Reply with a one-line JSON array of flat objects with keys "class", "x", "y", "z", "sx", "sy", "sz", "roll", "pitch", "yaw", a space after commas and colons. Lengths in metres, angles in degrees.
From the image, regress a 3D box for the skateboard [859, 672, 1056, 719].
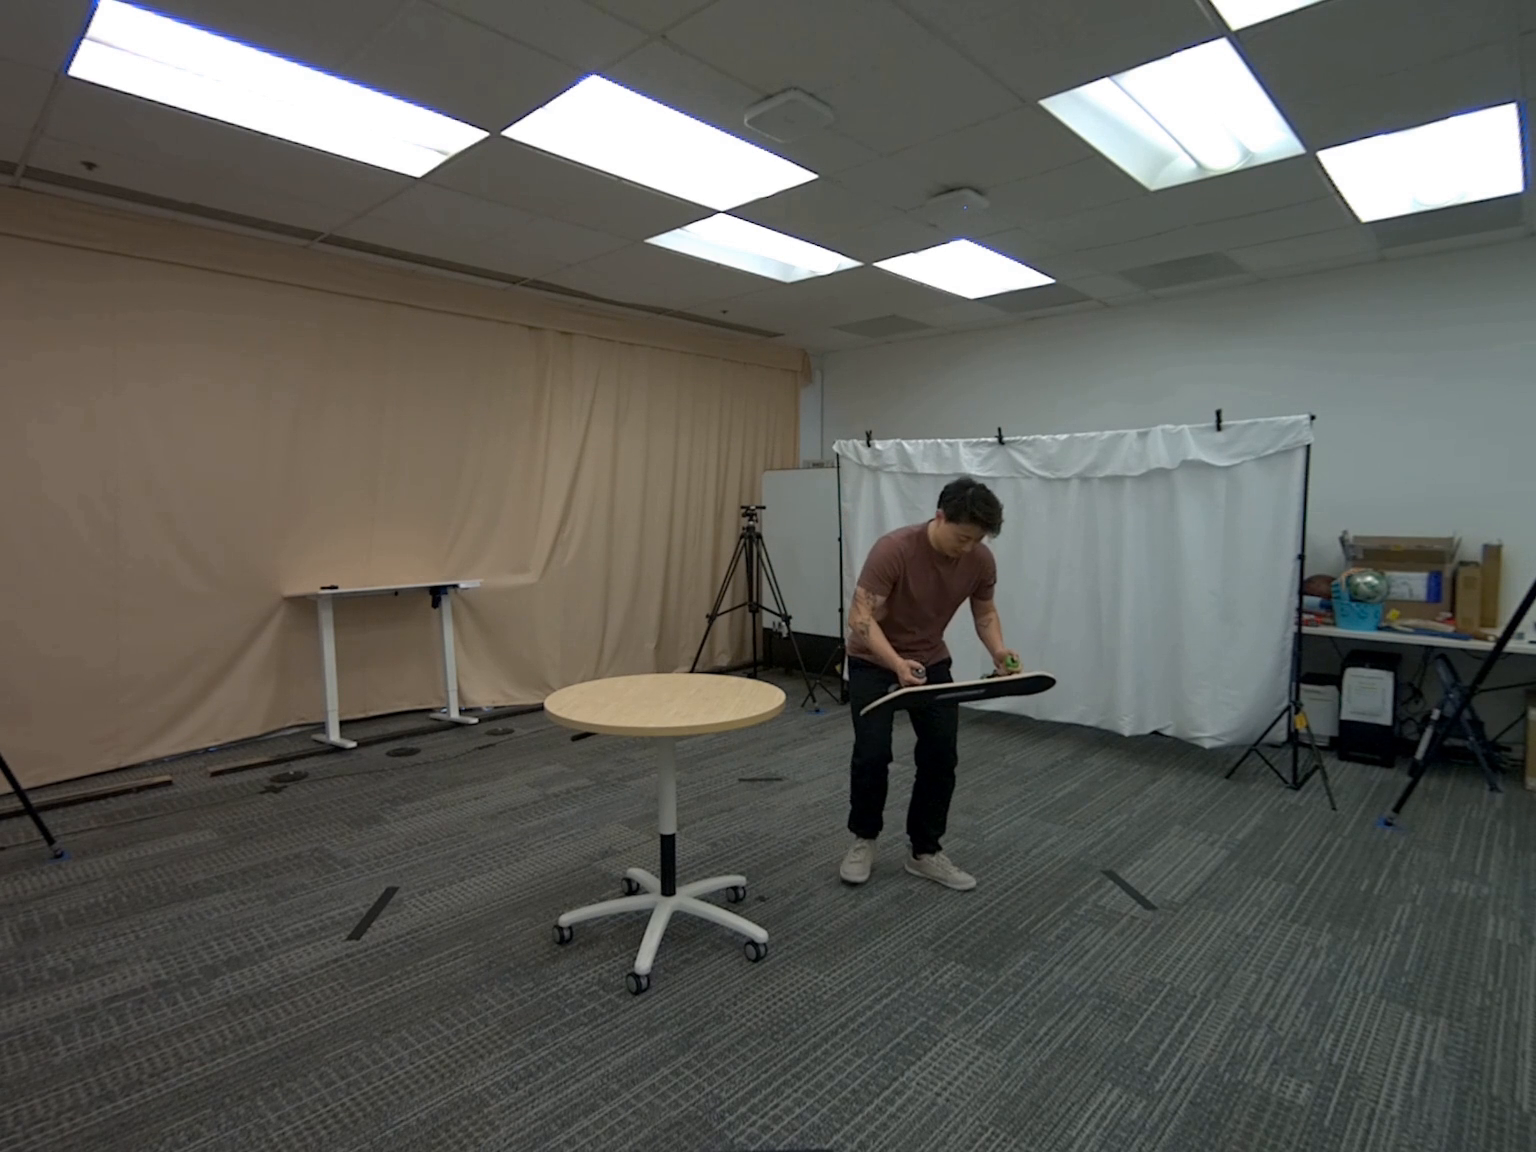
[{"class": "skateboard", "x": 0.652, "y": 0.382, "z": 2.930, "sx": 0.769, "sy": 0.113, "sz": 0.193, "roll": -4, "pitch": -28, "yaw": -21}]
